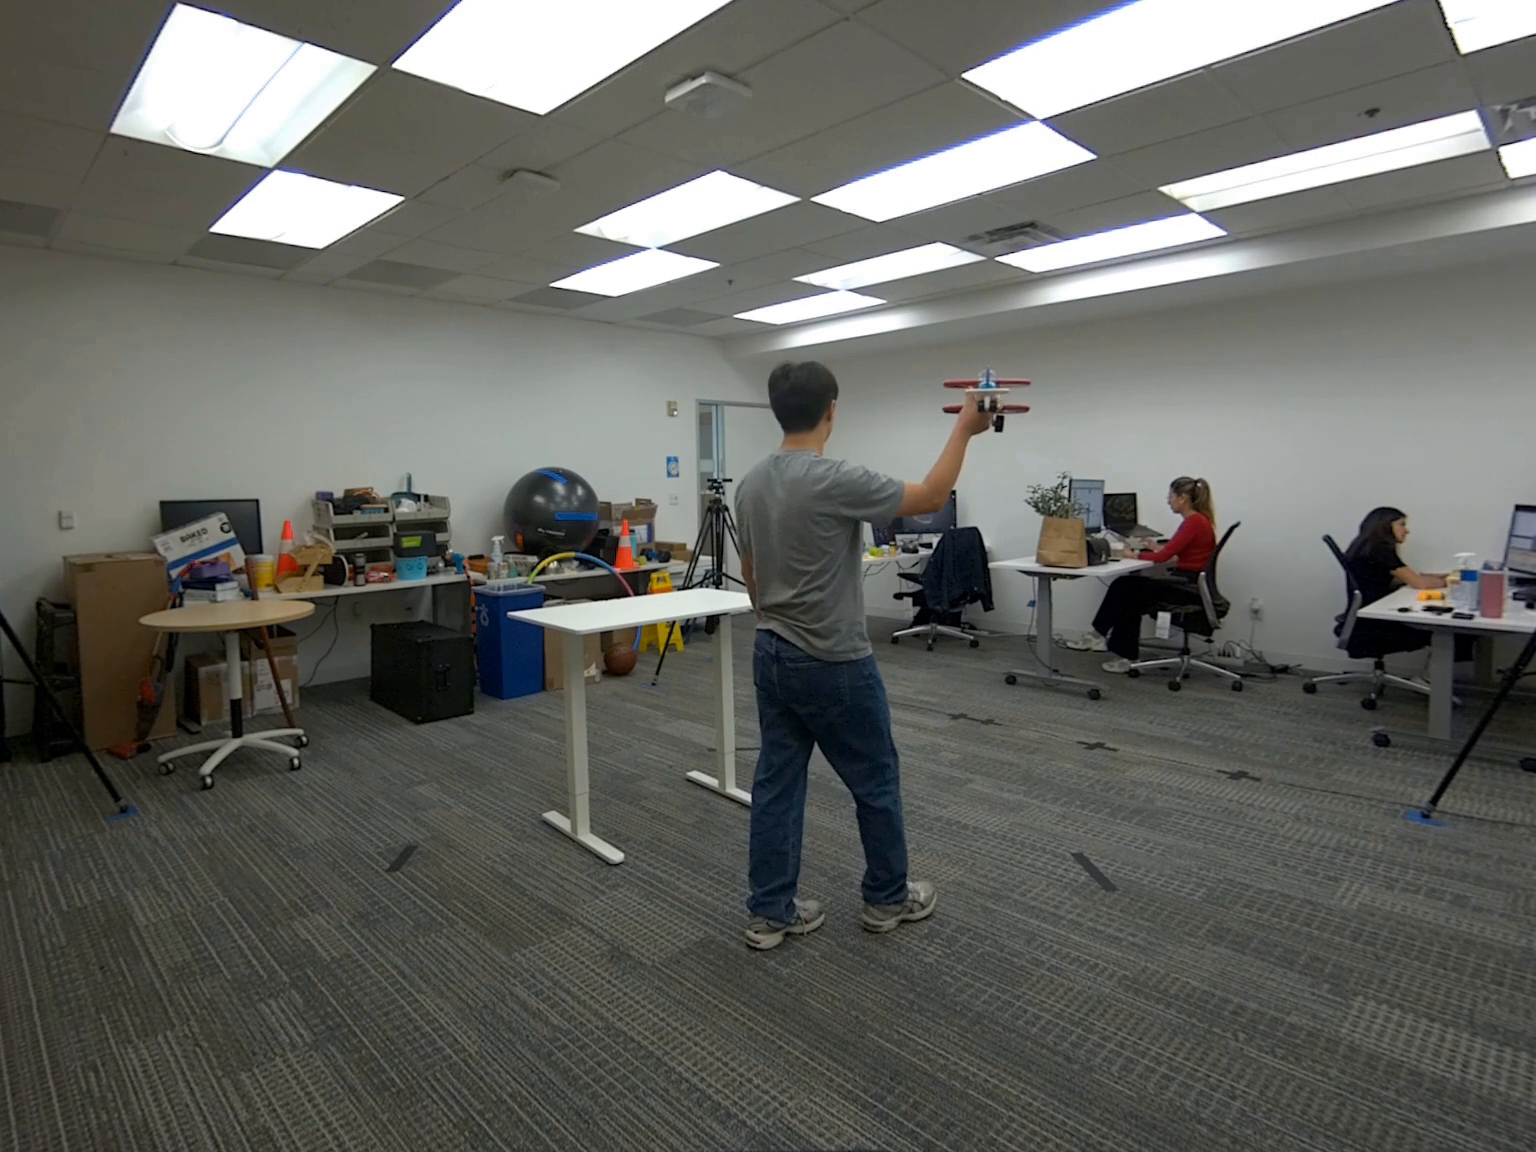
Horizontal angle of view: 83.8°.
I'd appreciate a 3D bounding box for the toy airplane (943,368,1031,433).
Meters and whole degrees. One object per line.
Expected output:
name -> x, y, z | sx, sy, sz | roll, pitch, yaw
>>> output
toy airplane -> 0.682, -0.535, 2.563 | 0.247, 0.158, 0.261 | 7, -10, -14
